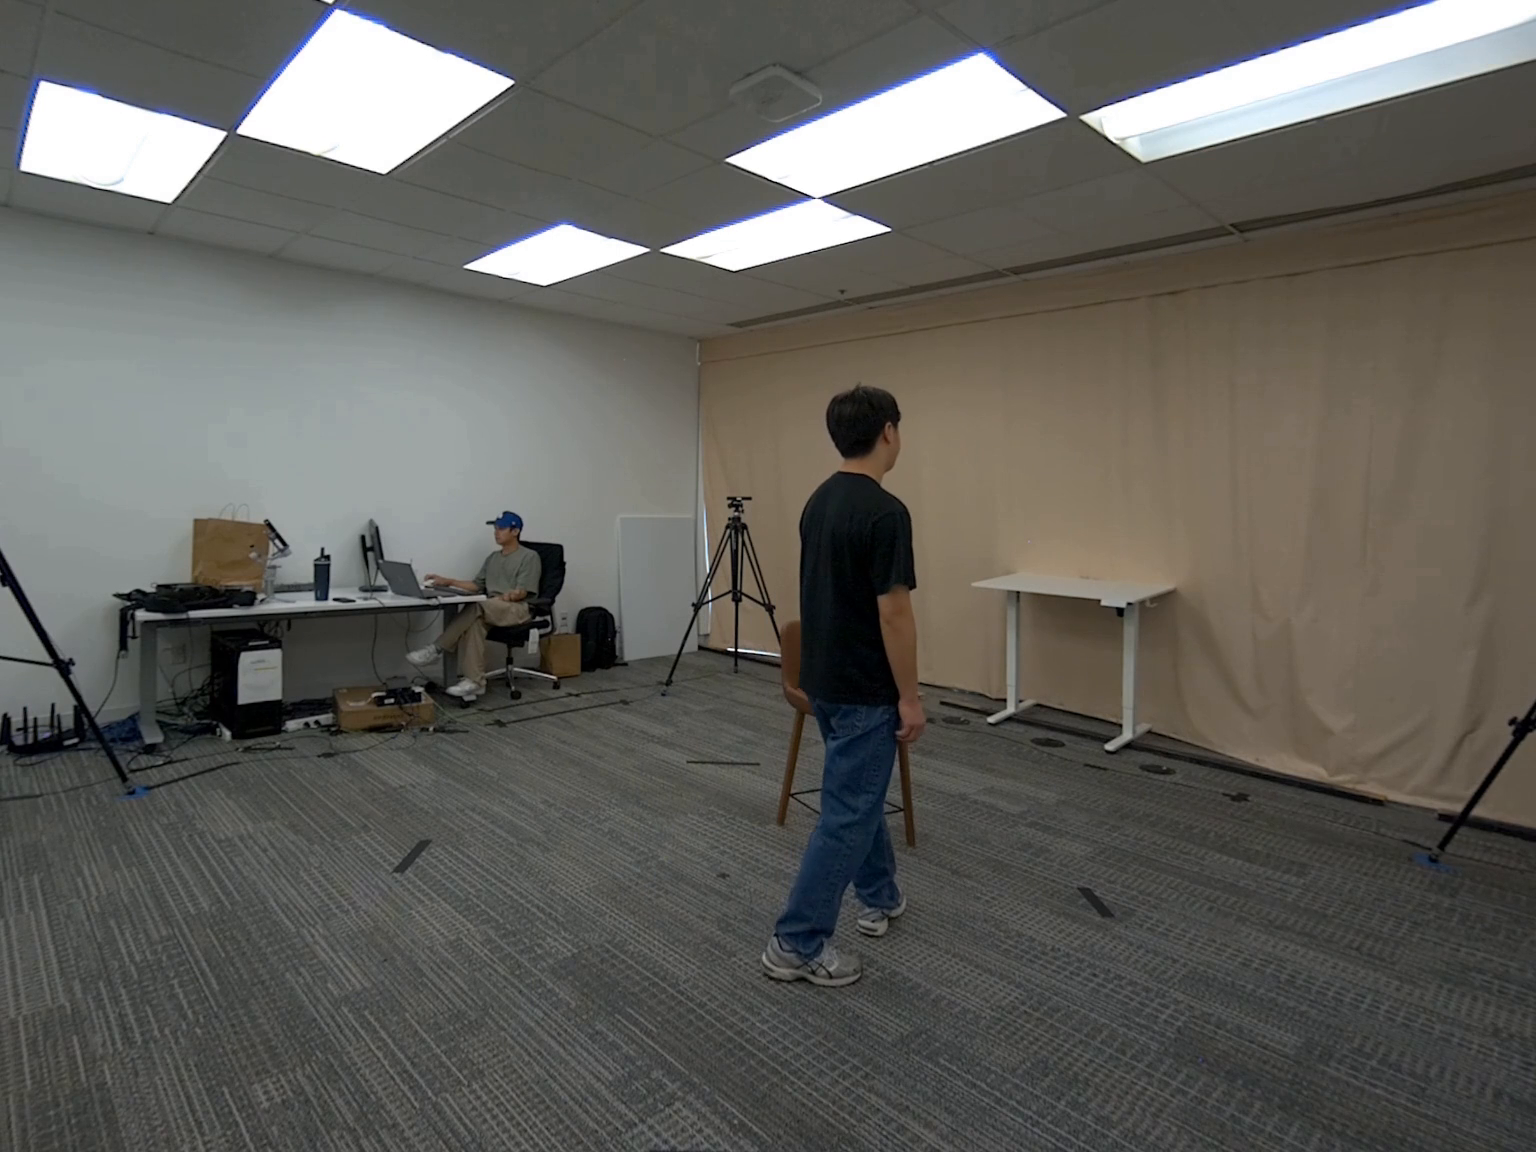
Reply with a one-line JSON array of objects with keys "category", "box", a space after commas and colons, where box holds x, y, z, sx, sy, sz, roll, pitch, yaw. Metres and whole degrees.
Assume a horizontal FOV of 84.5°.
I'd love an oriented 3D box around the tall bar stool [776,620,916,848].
[{"category": "tall bar stool", "box": [0.321, 0.652, 3.495, 0.447, 0.889, 0.477, 0, 1, -30]}]
